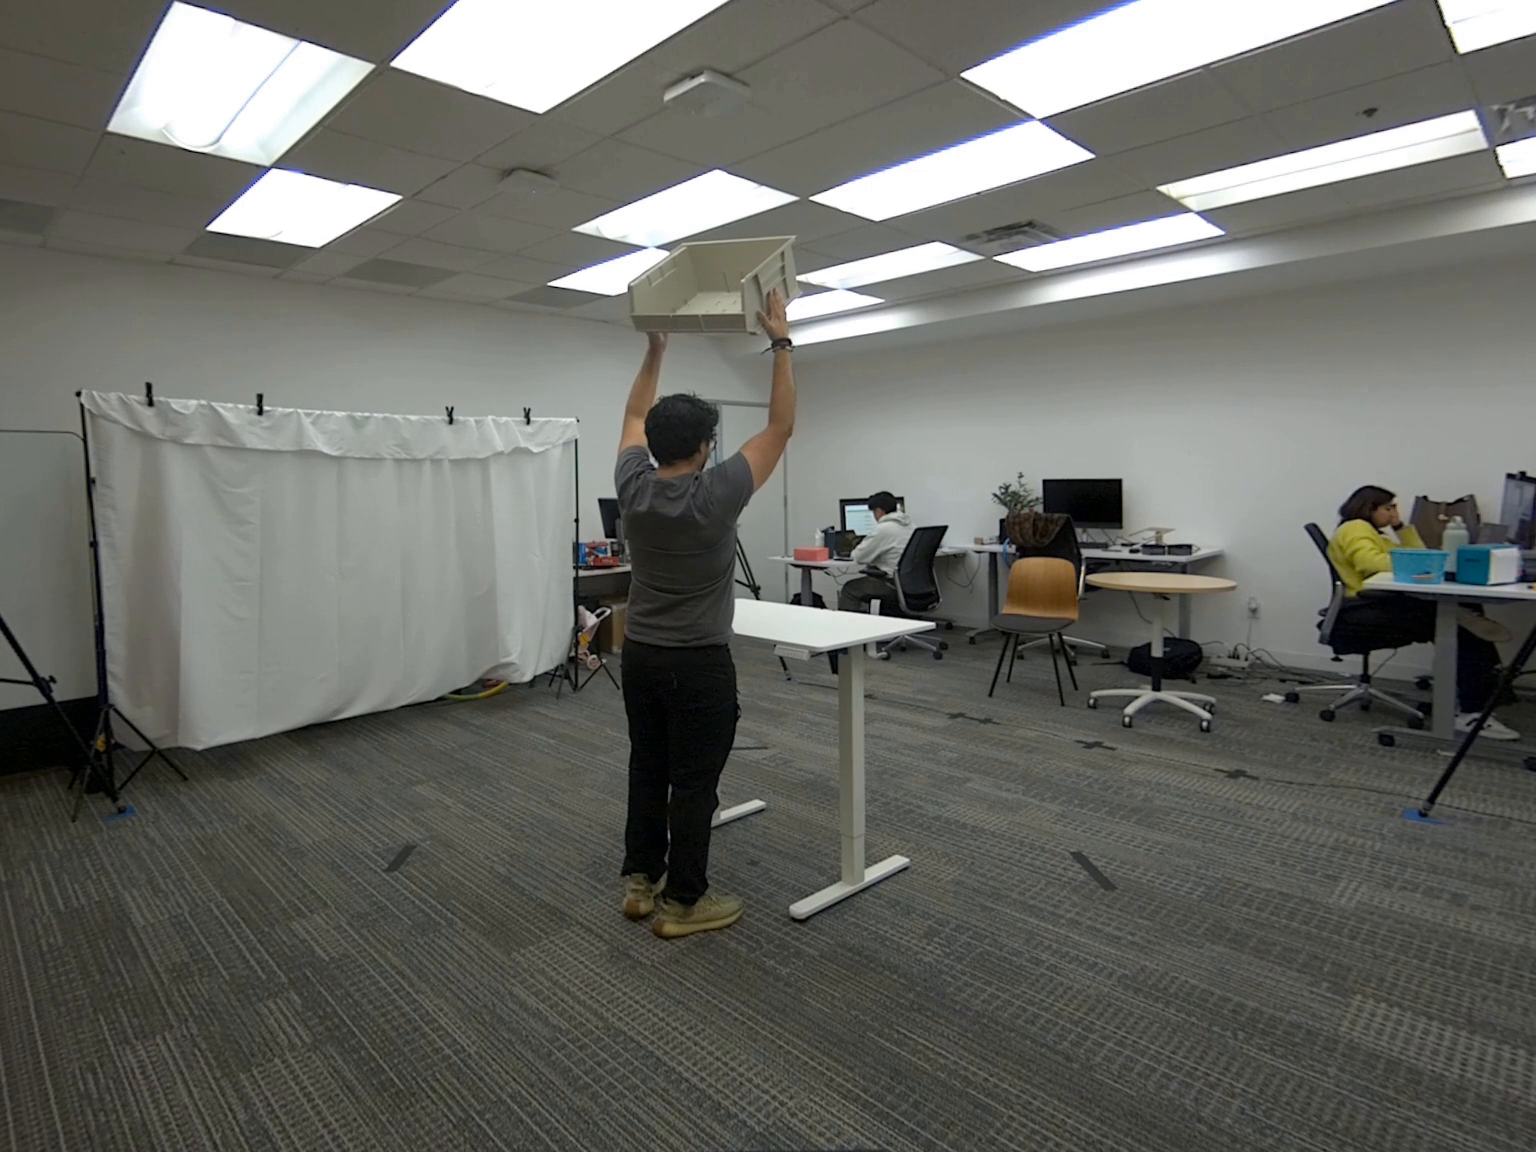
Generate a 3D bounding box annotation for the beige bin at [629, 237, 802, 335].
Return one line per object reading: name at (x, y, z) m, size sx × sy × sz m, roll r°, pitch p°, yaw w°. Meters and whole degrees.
beige bin at (-0.164, -0.887, 2.653) m, size 0.434 × 0.183 × 0.378 m, roll 8°, pitch 40°, yaw 30°
